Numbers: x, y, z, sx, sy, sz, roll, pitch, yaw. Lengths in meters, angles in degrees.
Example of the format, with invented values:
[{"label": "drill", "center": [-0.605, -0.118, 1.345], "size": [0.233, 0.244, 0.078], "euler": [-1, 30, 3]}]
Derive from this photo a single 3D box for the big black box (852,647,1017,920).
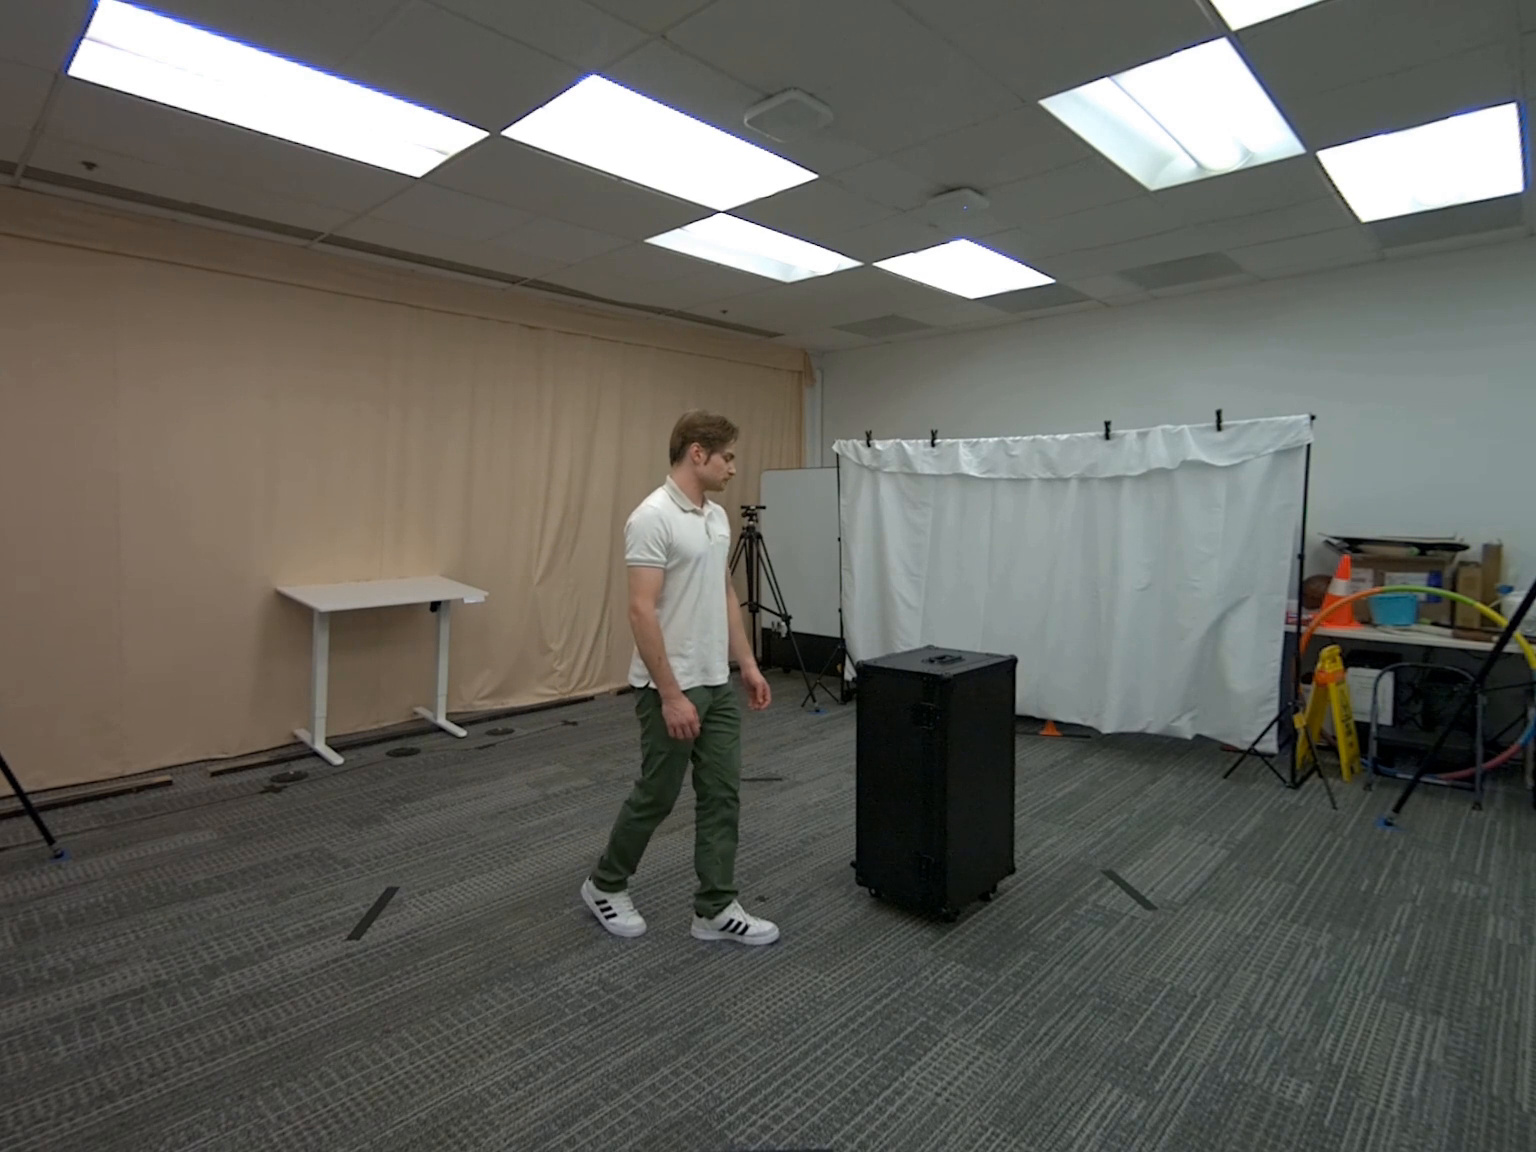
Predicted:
[{"label": "big black box", "center": [0.592, 0.723, 2.964], "size": [0.398, 0.867, 0.507], "euler": [2, 4, 42]}]
